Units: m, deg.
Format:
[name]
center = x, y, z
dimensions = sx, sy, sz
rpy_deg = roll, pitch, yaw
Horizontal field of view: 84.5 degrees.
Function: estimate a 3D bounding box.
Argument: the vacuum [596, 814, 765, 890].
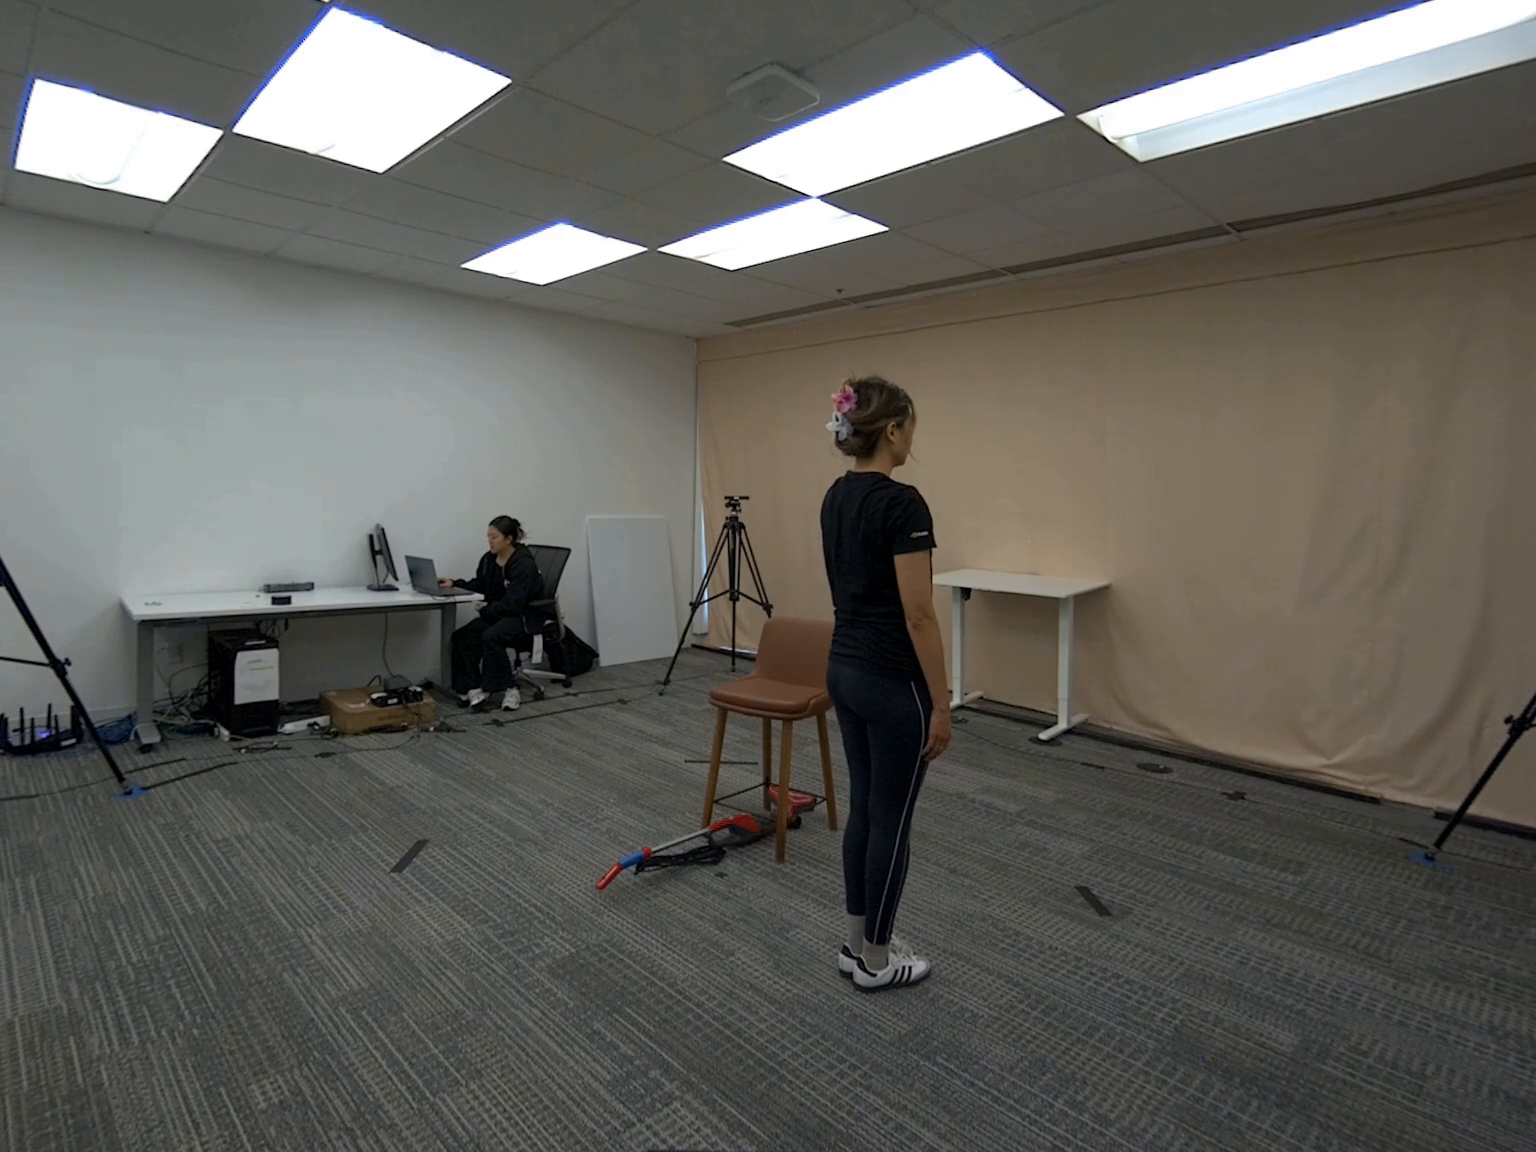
[vacuum]
center = -0.251, 1.034, 3.232
dimensions = 0.259, 0.143, 1.026
rpy_deg = 5, 8, 41
